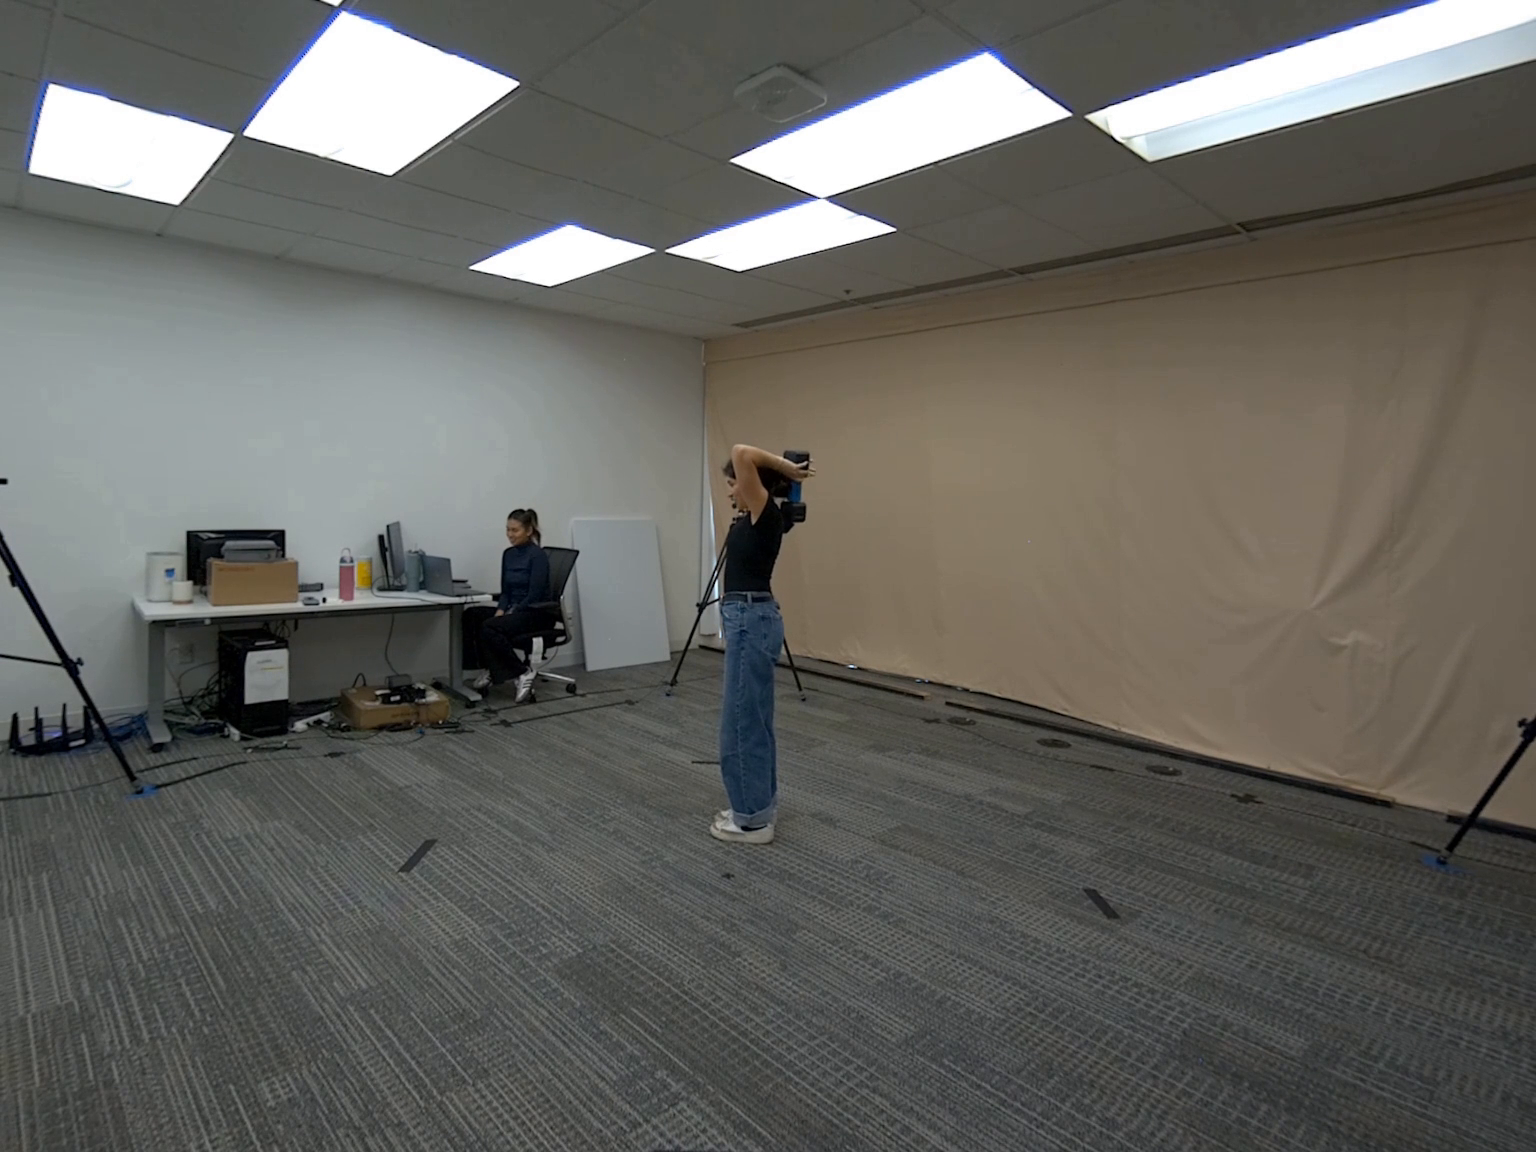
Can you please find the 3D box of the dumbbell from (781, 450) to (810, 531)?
[{"bbox_3d":[0.097,-0.374,3.456,0.126,0.292,0.107,8,9,32],"label":"dumbbell"}]
